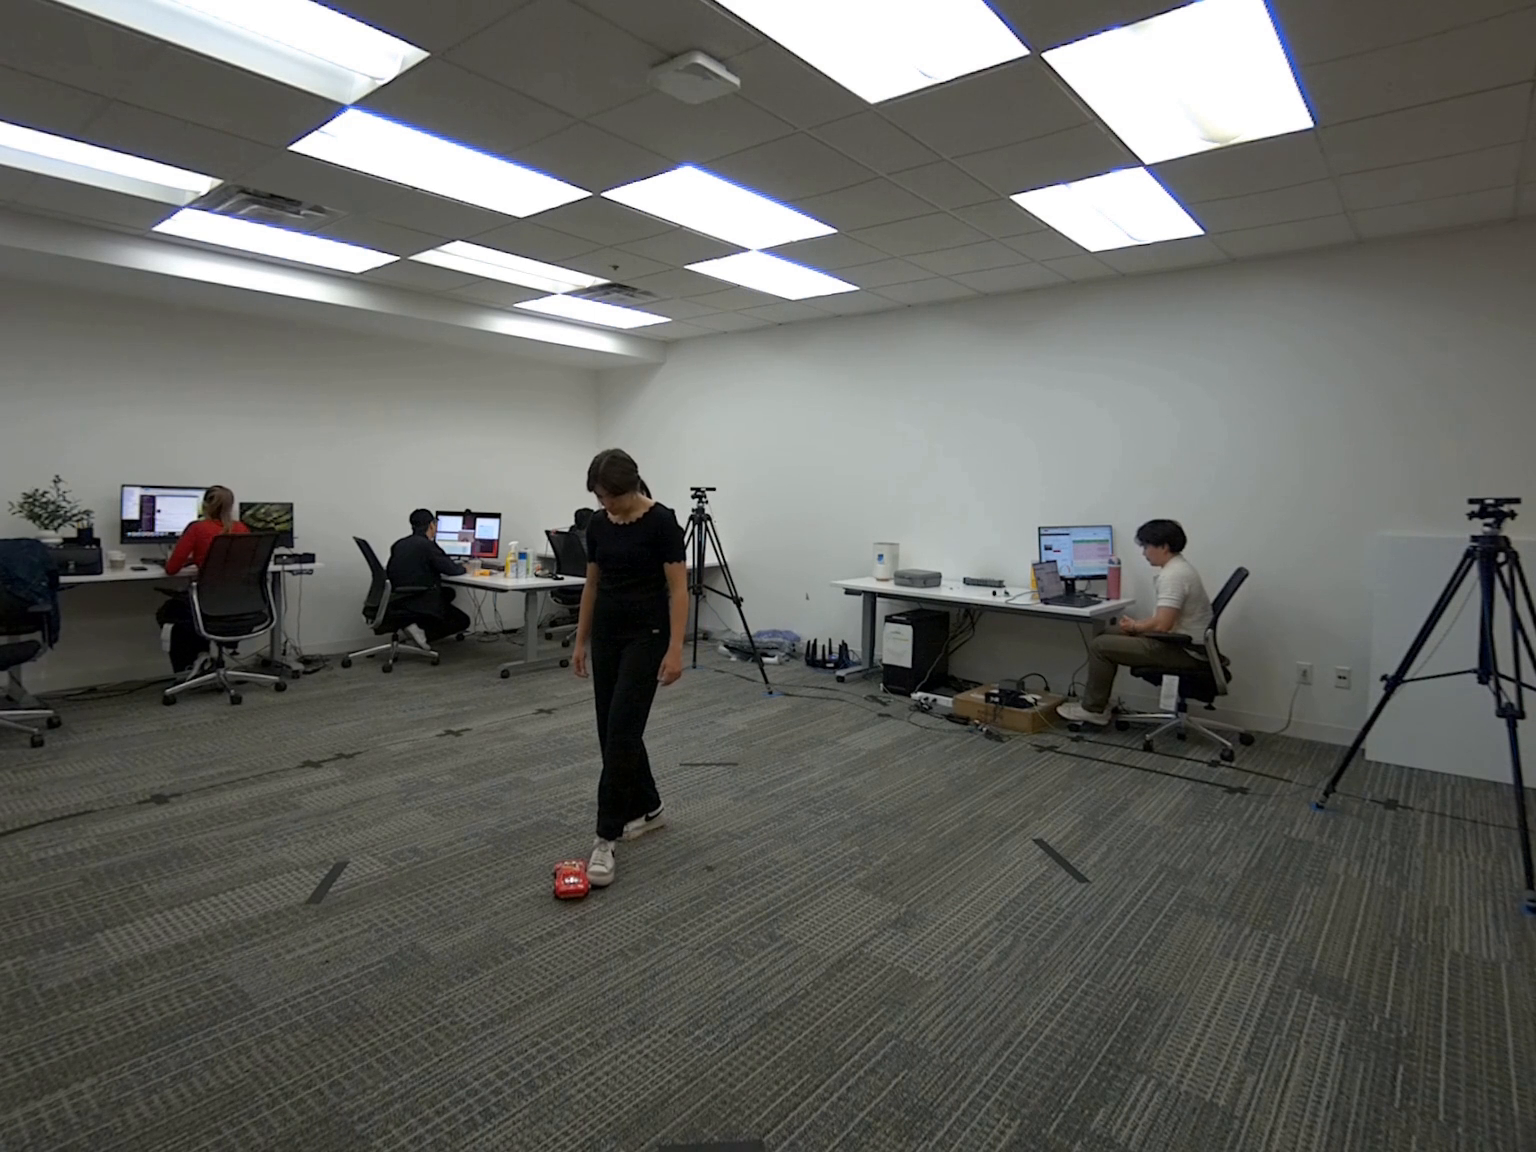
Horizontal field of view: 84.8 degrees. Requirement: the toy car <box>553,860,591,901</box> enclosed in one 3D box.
[{"bbox_3d":[-0.686,1.044,2.928,0.129,0.084,0.256,-1,-5,-12],"label":"toy car"}]
